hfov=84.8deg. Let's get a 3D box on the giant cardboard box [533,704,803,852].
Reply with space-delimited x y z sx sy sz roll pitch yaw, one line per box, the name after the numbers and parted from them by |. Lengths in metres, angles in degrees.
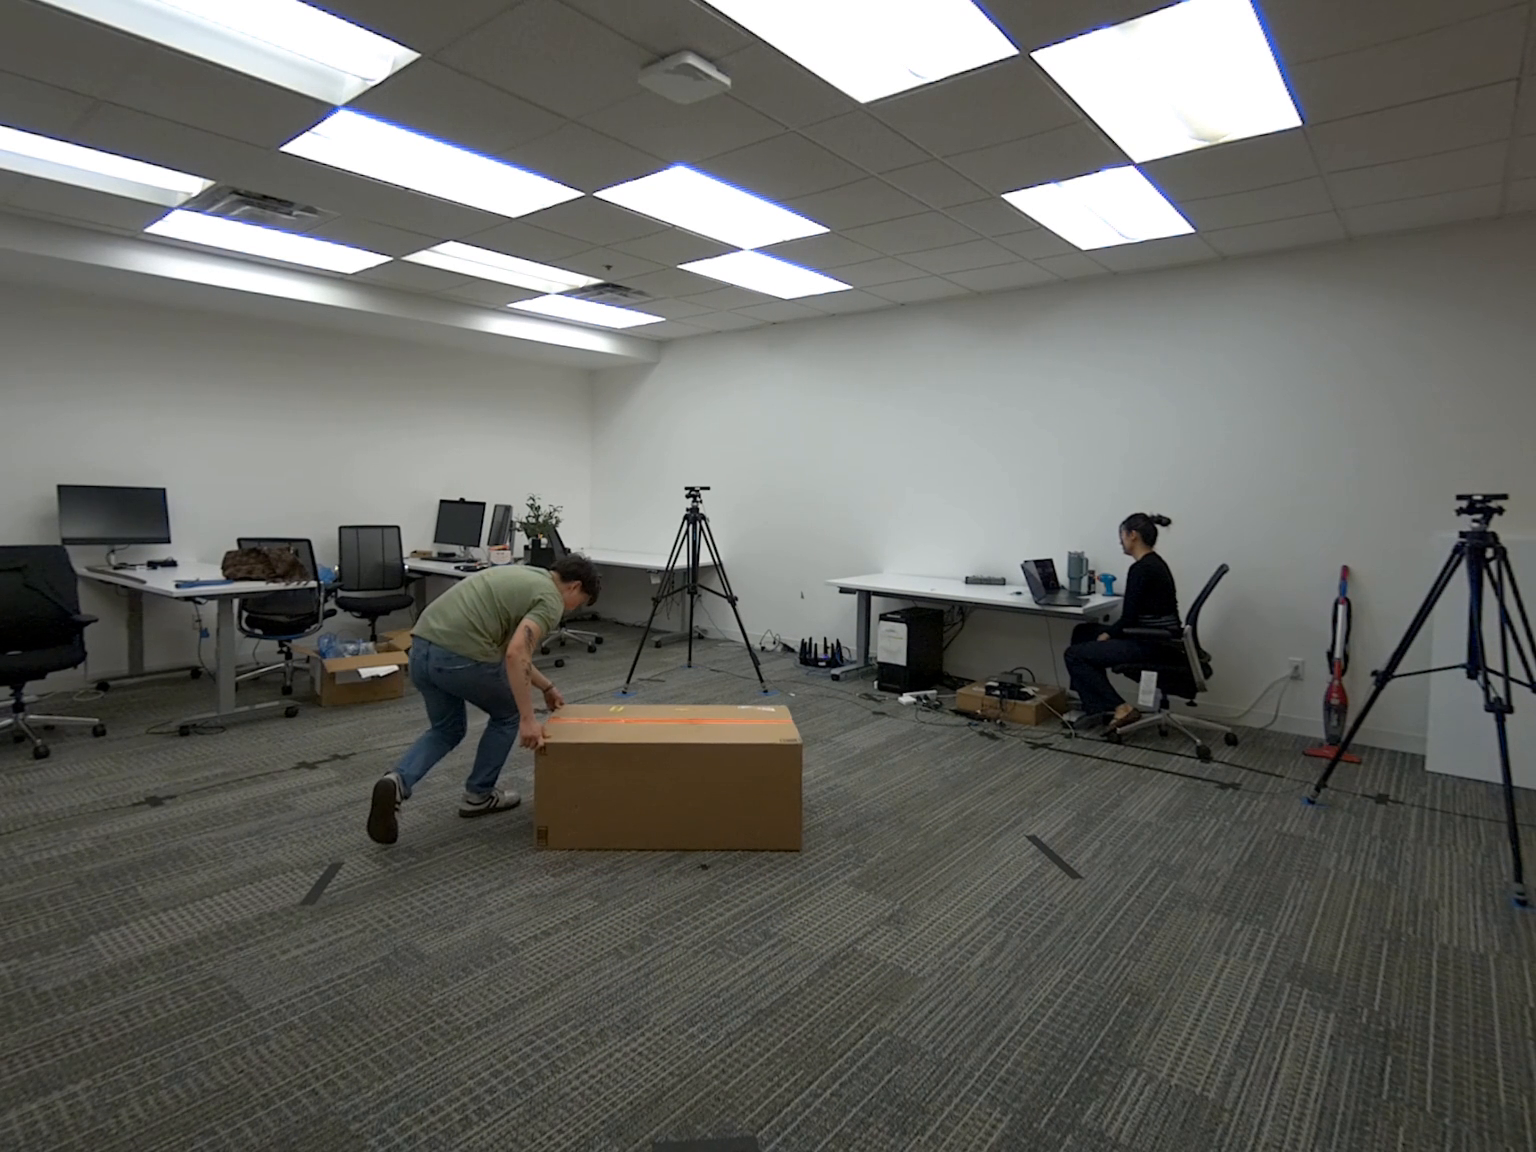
-0.409 0.808 3.520 1.024 0.425 0.580 0 4 -2 | giant cardboard box
